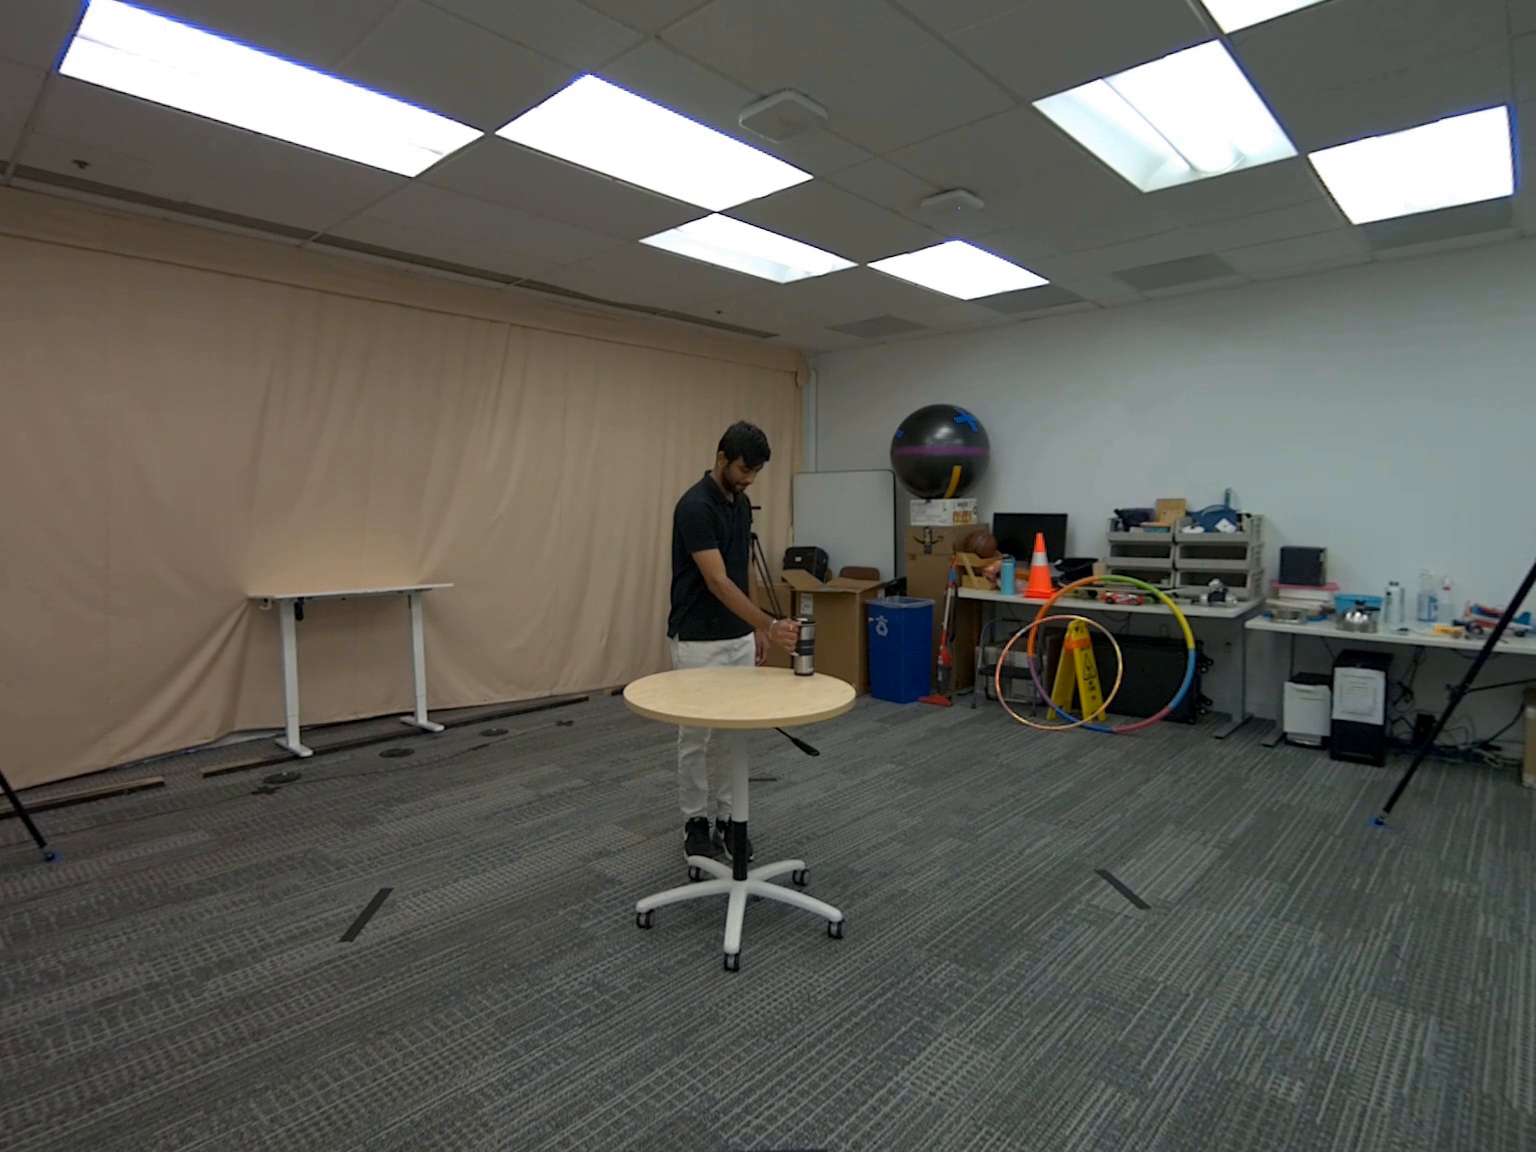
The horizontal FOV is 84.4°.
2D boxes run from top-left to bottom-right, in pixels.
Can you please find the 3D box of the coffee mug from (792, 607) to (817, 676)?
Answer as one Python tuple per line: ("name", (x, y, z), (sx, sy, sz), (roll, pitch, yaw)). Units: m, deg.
("coffee mug", (0.112, 0.256, 3.026), (0.125, 0.202, 0.086), (4, 10, 25))
